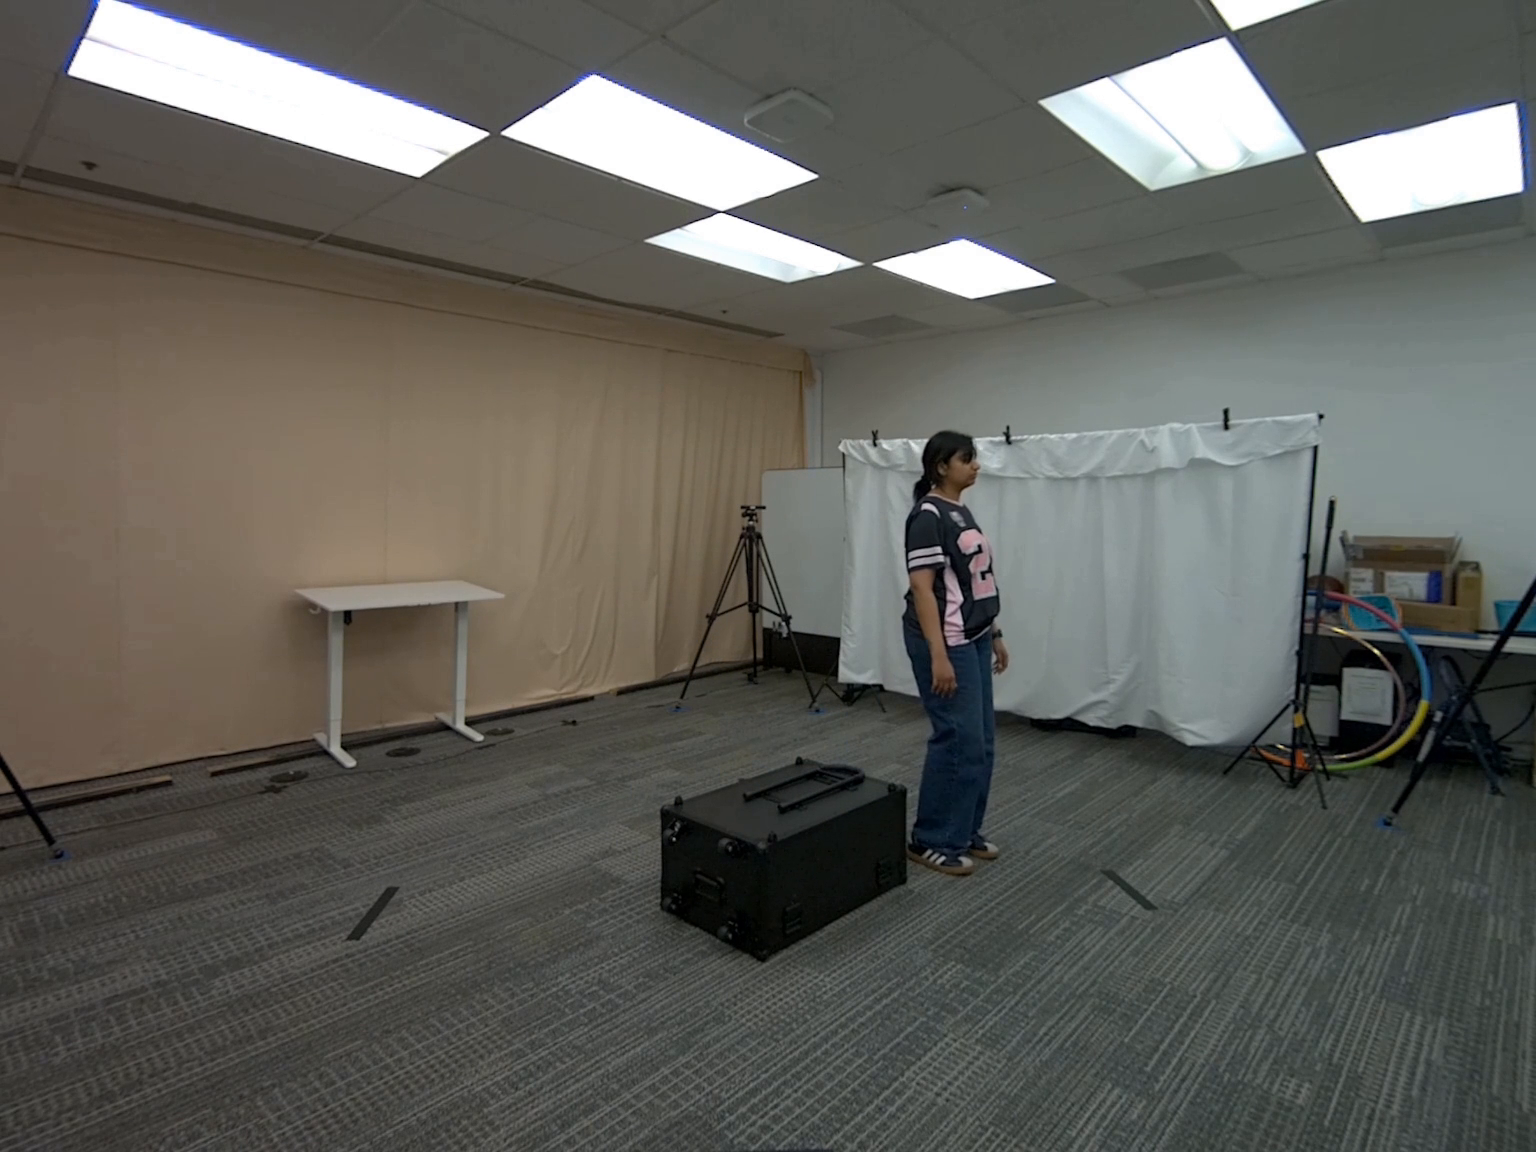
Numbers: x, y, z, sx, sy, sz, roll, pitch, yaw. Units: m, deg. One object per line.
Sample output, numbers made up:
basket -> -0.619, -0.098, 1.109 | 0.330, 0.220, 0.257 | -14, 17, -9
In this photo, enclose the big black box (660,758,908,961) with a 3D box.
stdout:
big black box -> 0.055, 0.961, 2.965 | 0.541, 0.384, 0.842 | 5, 7, 44
